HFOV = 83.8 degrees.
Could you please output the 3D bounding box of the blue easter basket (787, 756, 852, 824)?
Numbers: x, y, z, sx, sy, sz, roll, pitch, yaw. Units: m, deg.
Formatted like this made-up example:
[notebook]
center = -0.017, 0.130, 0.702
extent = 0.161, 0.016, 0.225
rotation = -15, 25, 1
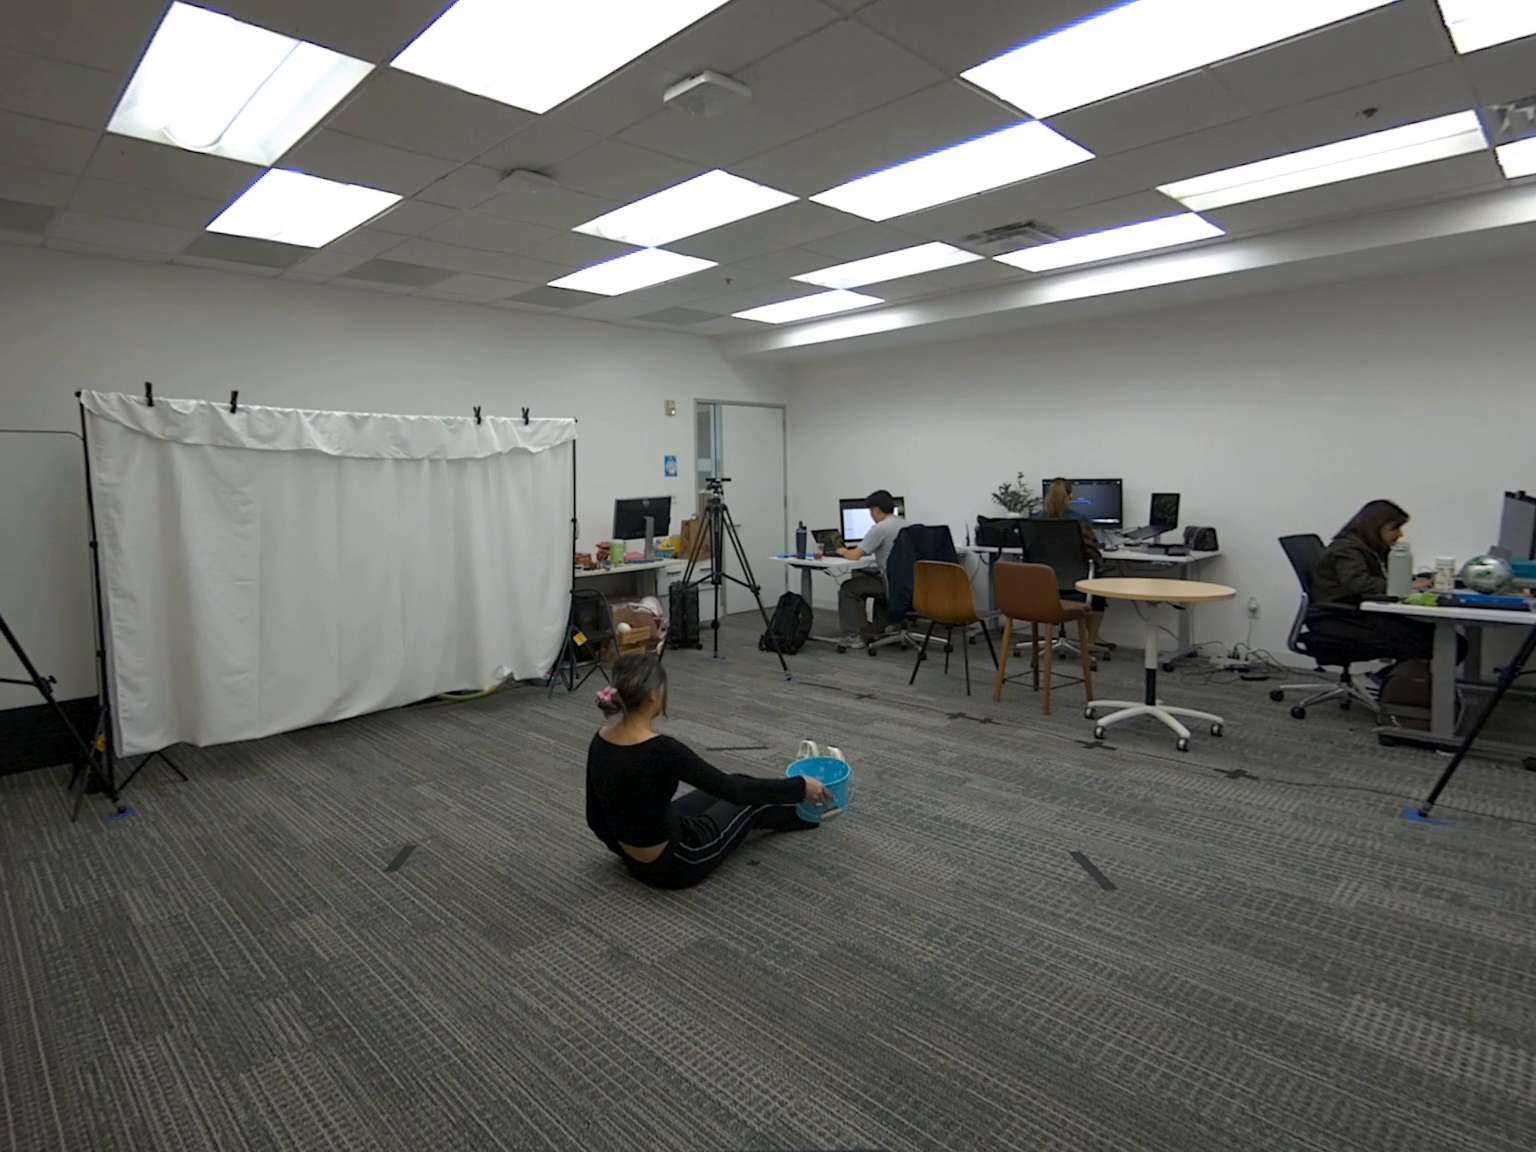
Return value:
[blue easter basket]
center = 0.187, 0.776, 3.070
extent = 0.243, 0.154, 0.246
rotation = -6, 11, -1
